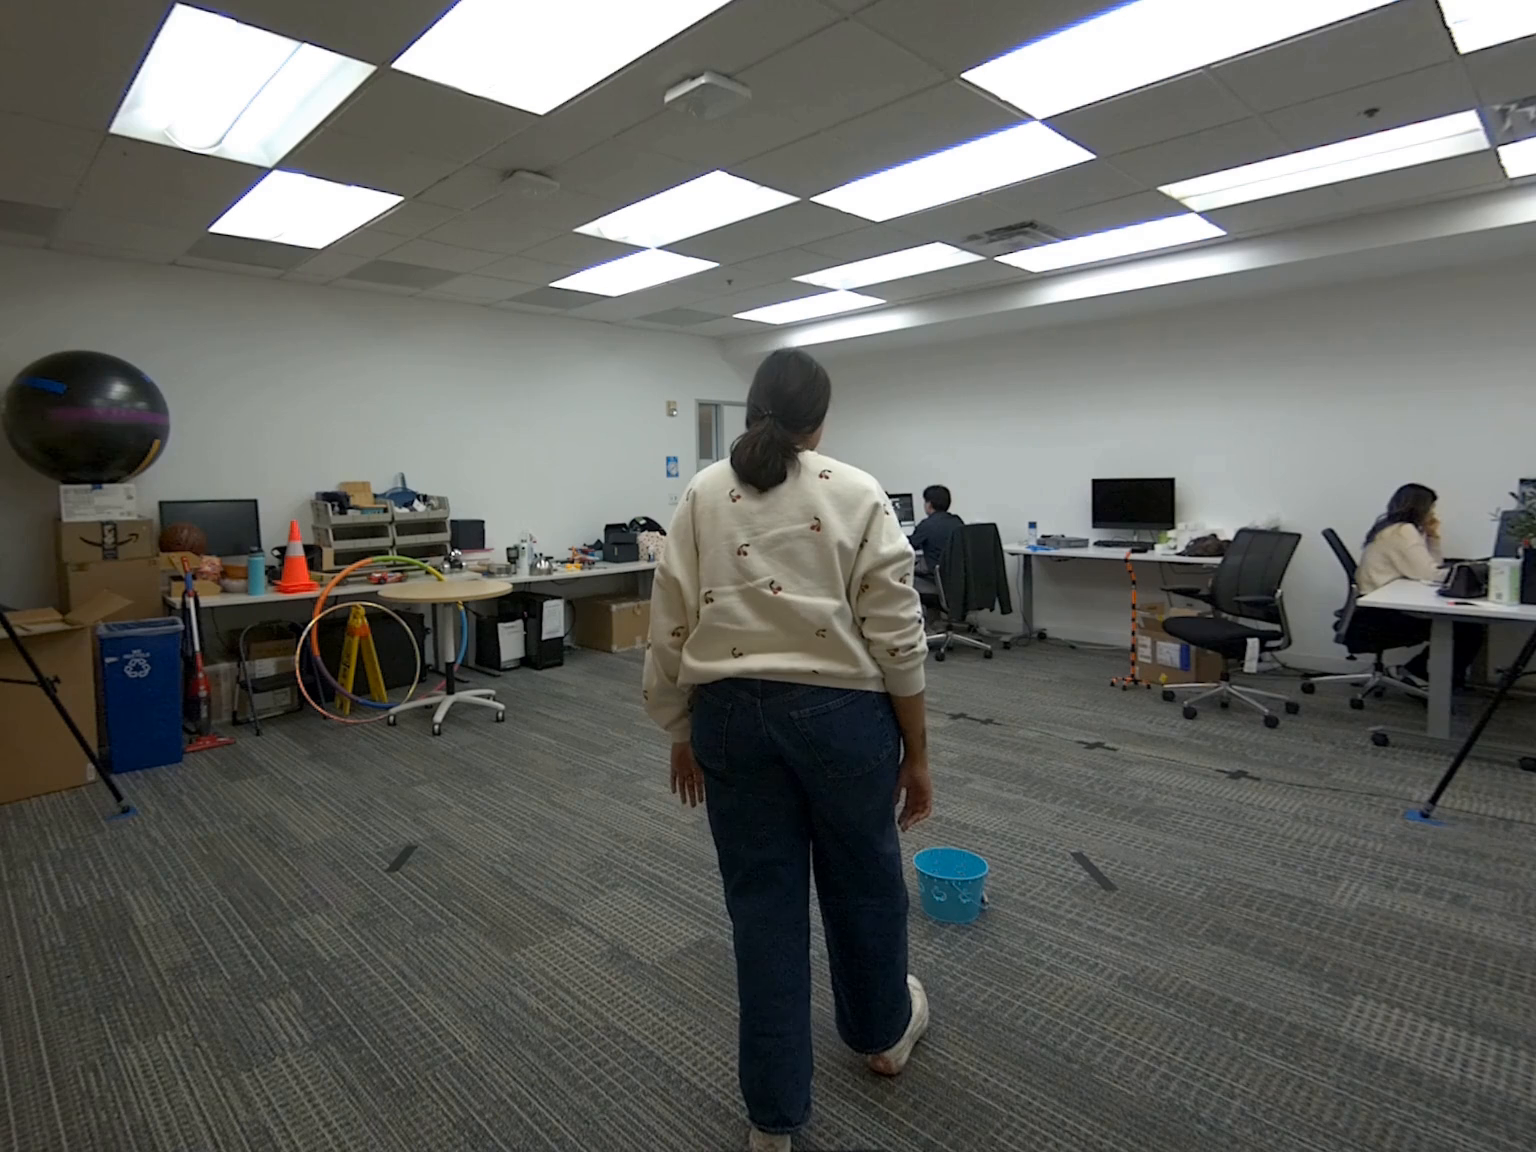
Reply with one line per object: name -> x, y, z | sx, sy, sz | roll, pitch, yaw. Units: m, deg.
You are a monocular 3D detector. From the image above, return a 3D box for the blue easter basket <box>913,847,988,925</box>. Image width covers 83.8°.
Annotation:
blue easter basket -> 0.595, 0.995, 2.743 | 0.243, 0.155, 0.245 | -2, 6, -1
